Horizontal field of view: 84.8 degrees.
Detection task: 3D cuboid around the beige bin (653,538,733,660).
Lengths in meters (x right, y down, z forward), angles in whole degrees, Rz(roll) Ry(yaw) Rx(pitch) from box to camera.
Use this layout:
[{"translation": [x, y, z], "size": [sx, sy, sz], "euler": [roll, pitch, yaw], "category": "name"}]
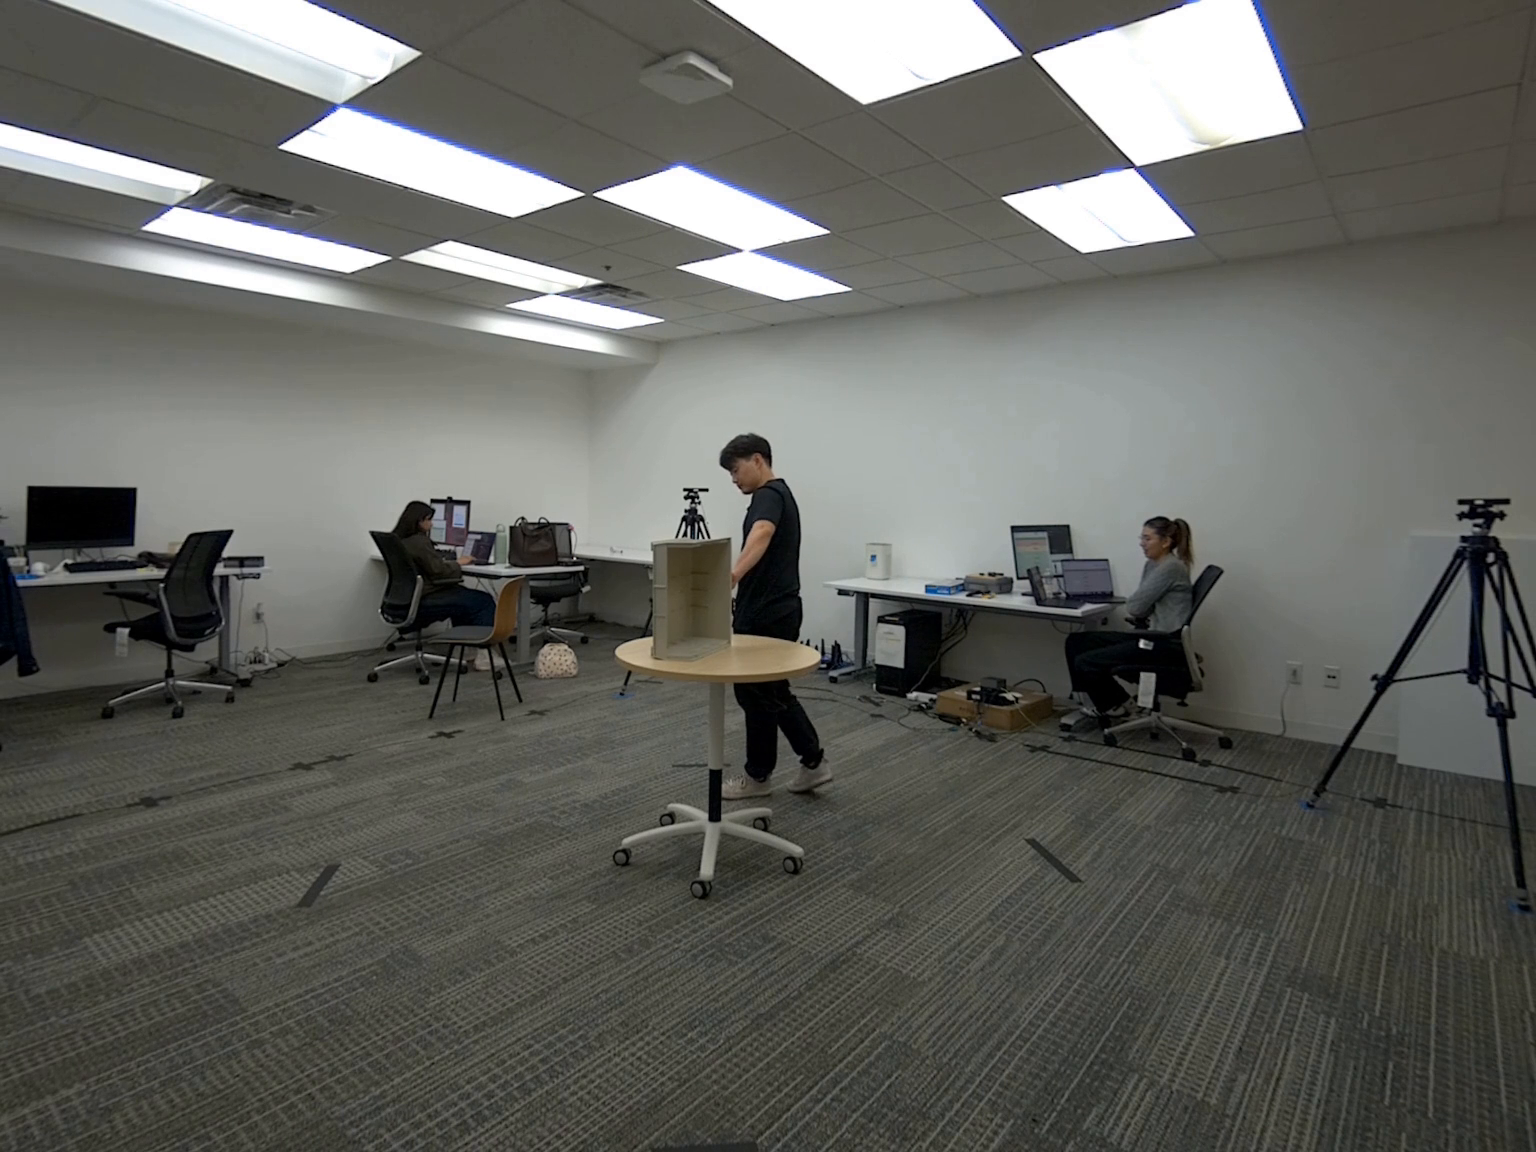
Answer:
[{"translation": [-0.302, 0.070, 3.171], "size": [0.193, 0.421, 0.370], "euler": [1, 5, 21], "category": "beige bin"}]
